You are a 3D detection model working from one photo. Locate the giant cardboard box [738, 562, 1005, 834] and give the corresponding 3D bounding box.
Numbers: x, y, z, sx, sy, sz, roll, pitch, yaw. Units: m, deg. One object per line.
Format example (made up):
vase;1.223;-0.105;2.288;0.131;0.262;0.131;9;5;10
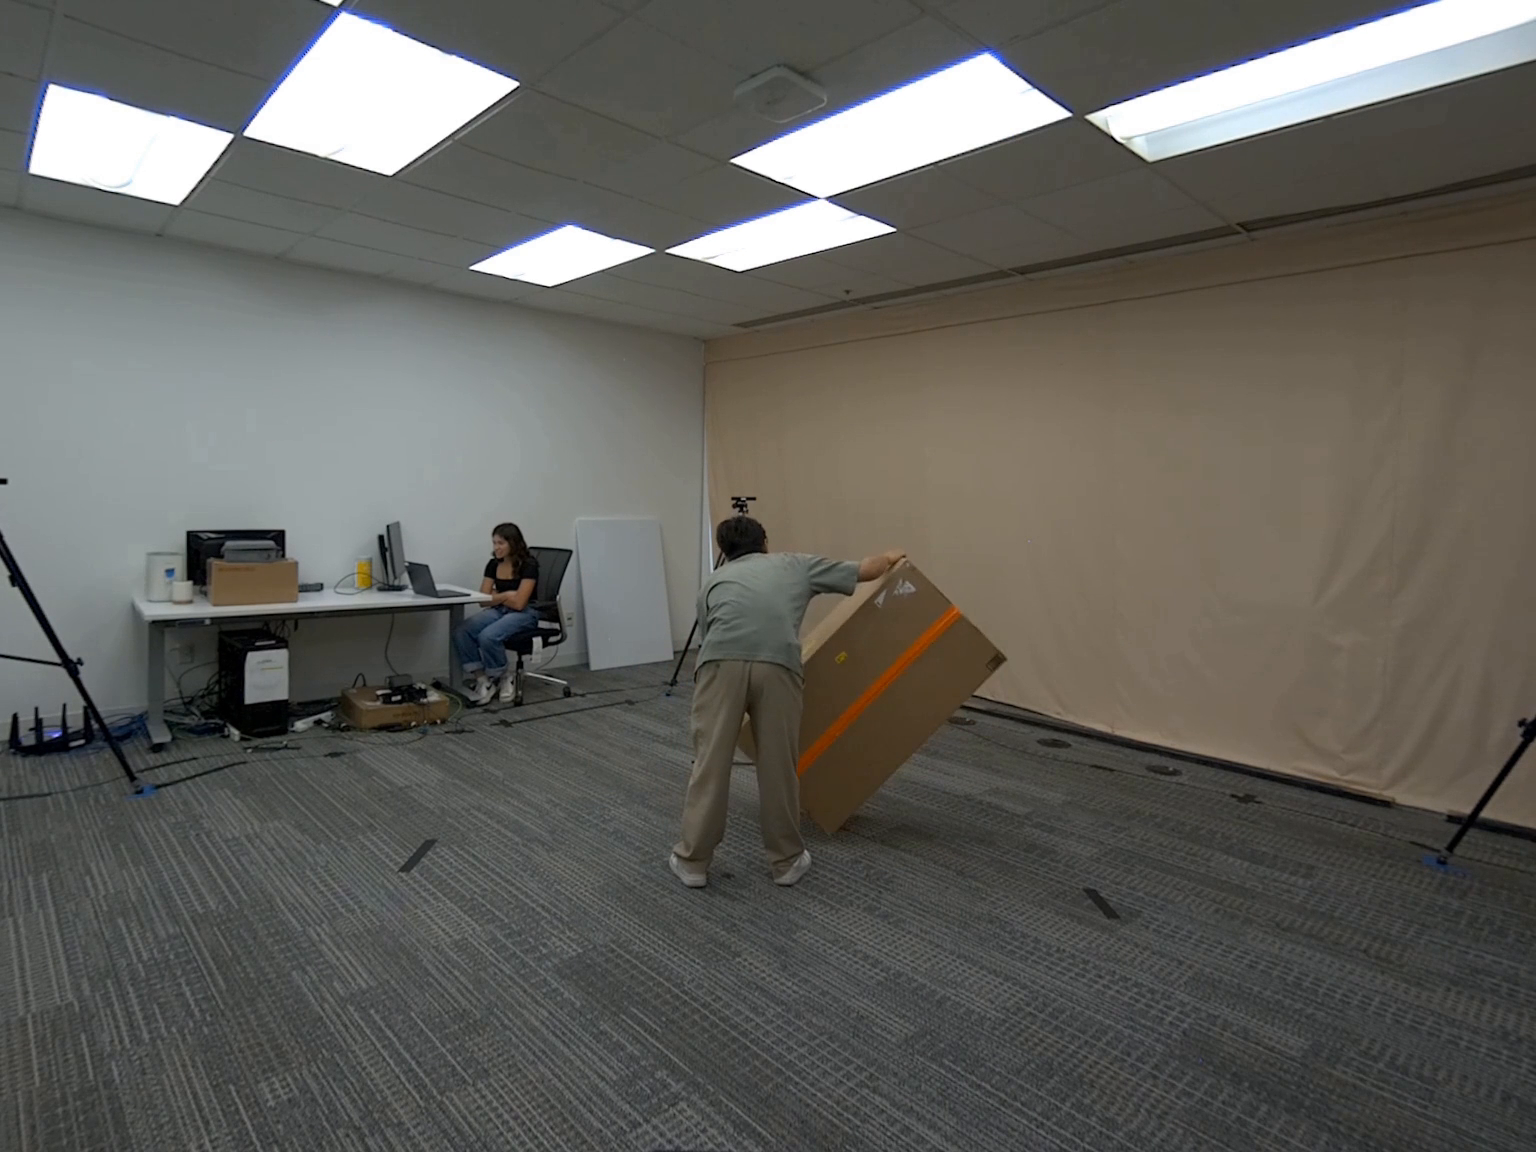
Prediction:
giant cardboard box;0.385;0.495;3.589;0.577;1.026;0.426;45;0;-1
